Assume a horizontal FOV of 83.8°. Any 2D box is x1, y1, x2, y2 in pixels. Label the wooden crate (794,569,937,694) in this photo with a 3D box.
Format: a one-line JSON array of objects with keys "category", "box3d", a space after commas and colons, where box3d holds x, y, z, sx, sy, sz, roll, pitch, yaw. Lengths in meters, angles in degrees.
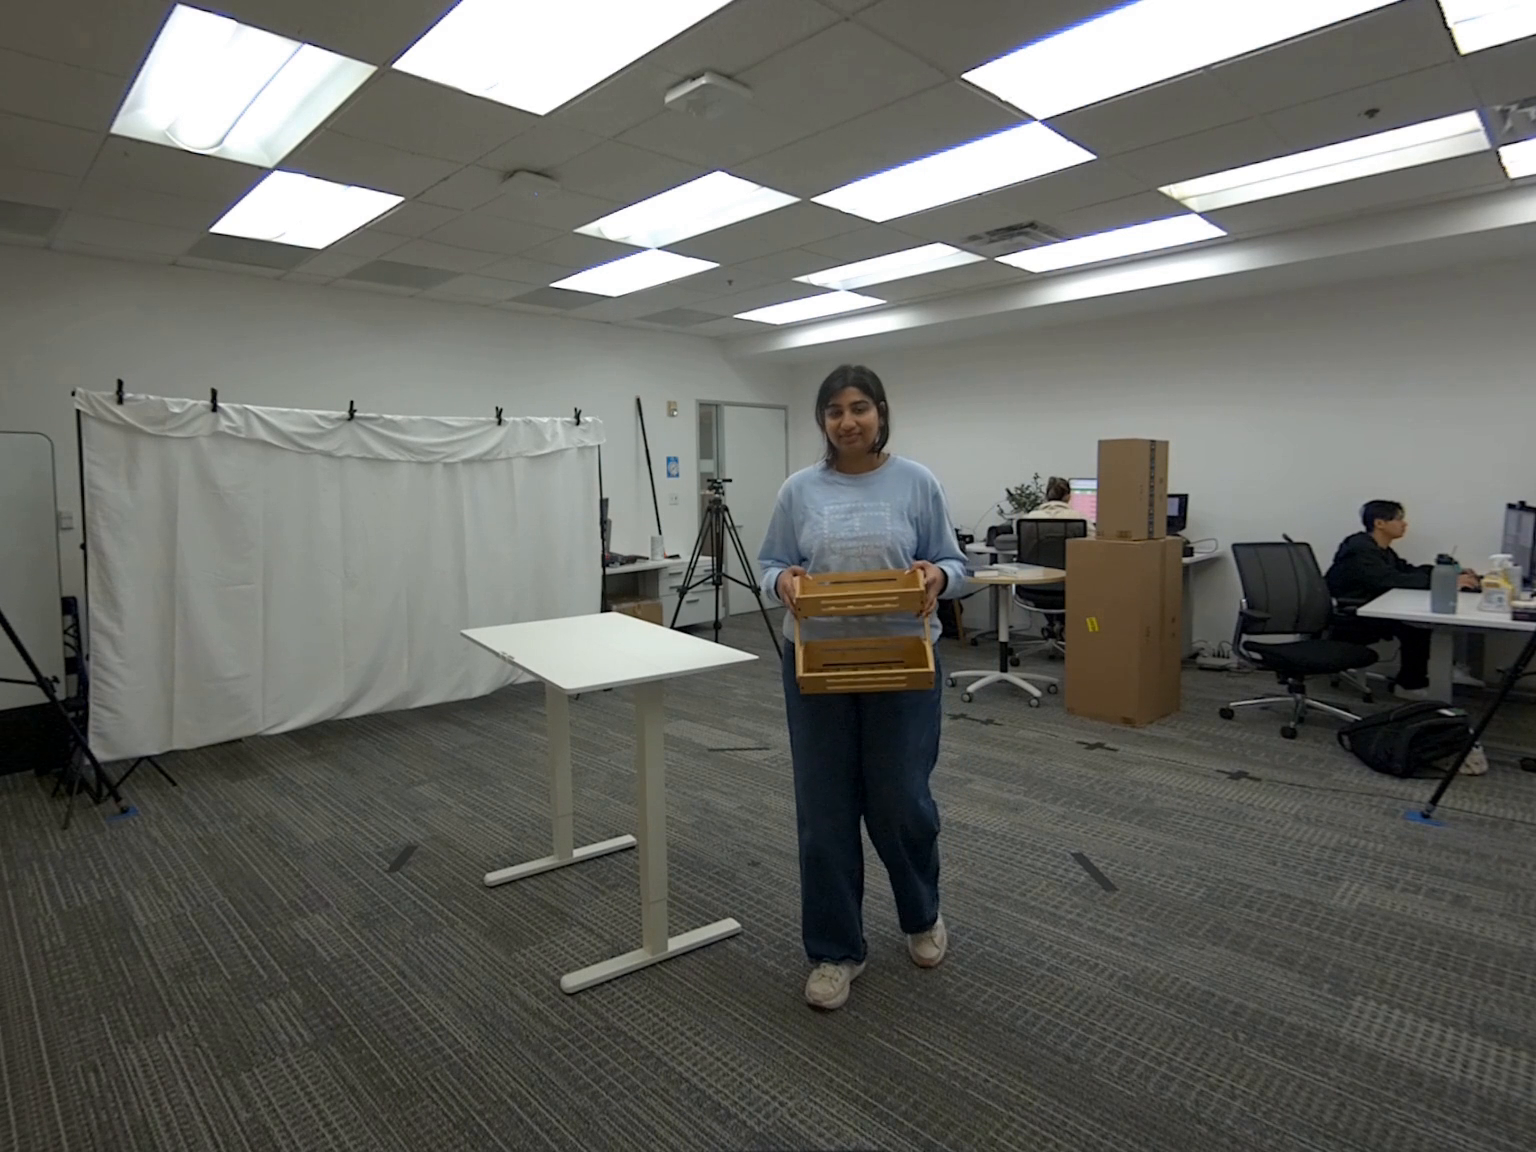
[{"category": "wooden crate", "box3d": [0.237, 0.126, 2.057, 0.326, 0.273, 0.301, -3, 2, 5]}]
